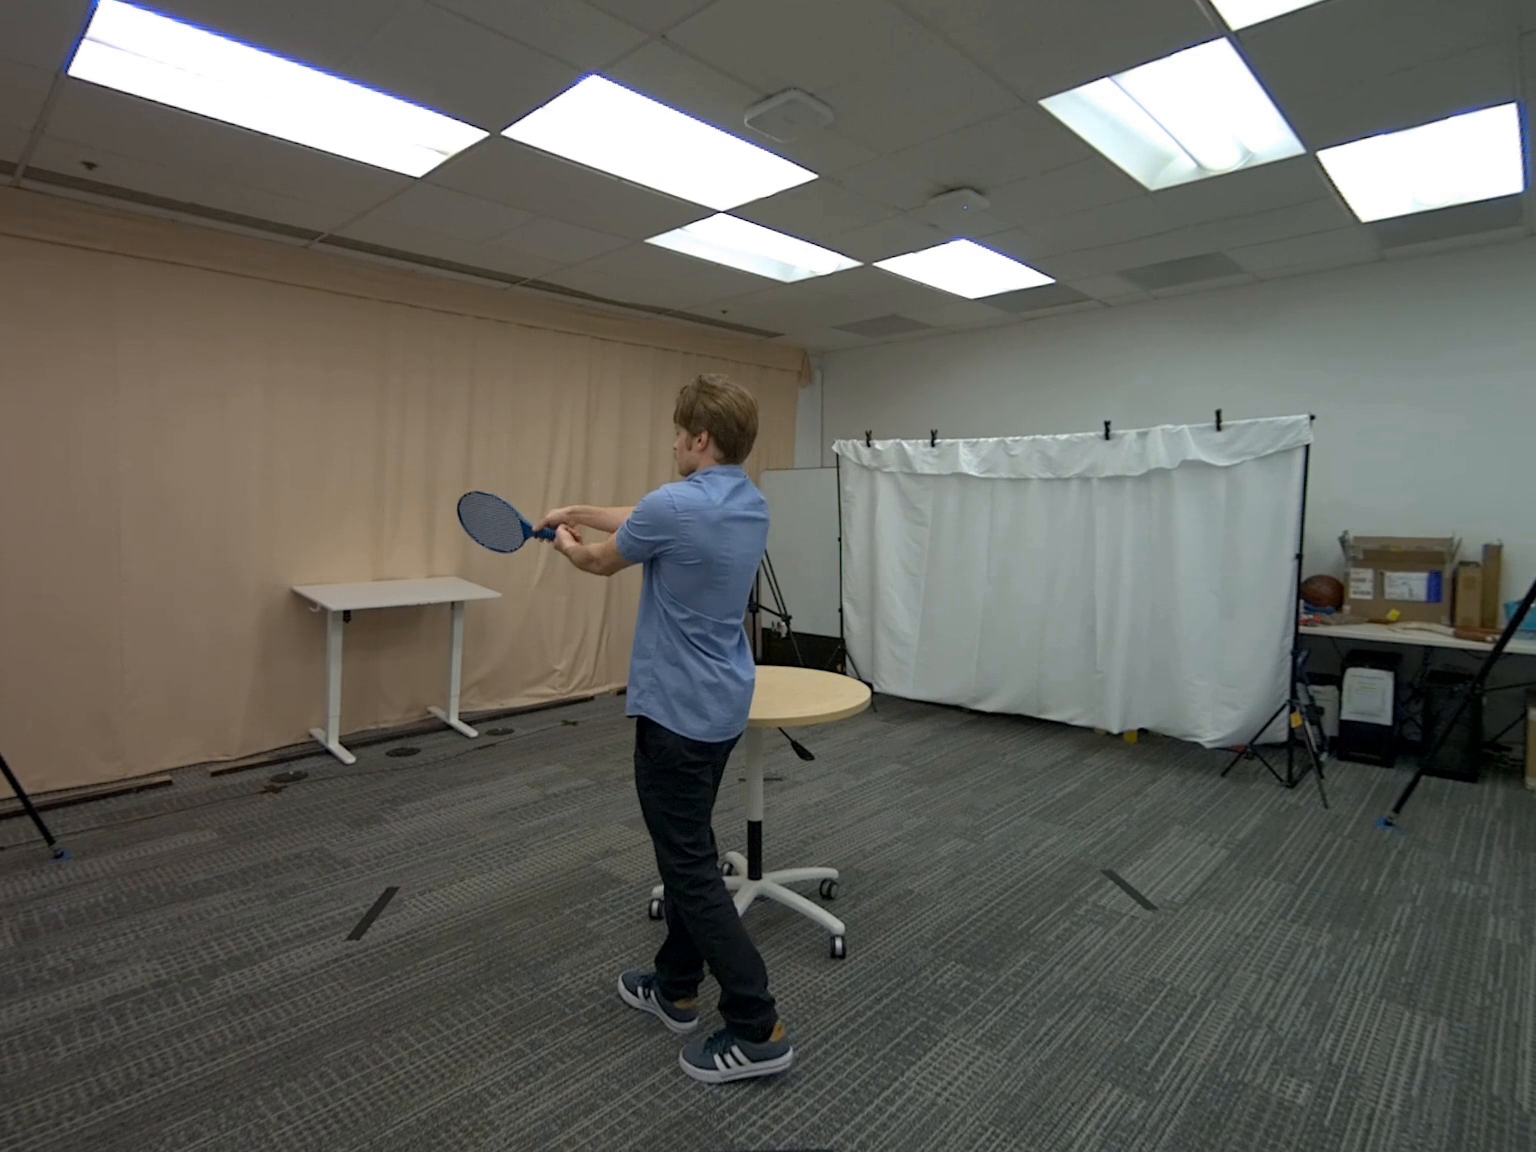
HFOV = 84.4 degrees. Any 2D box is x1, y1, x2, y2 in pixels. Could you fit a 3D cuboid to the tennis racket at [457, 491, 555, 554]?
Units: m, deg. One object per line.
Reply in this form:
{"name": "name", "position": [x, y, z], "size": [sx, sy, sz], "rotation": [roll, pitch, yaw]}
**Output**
{"name": "tennis racket", "position": [-0.780, -0.147, 2.572], "size": [0.444, 0.211, 0.031], "rotation": [15, 29, 22]}
